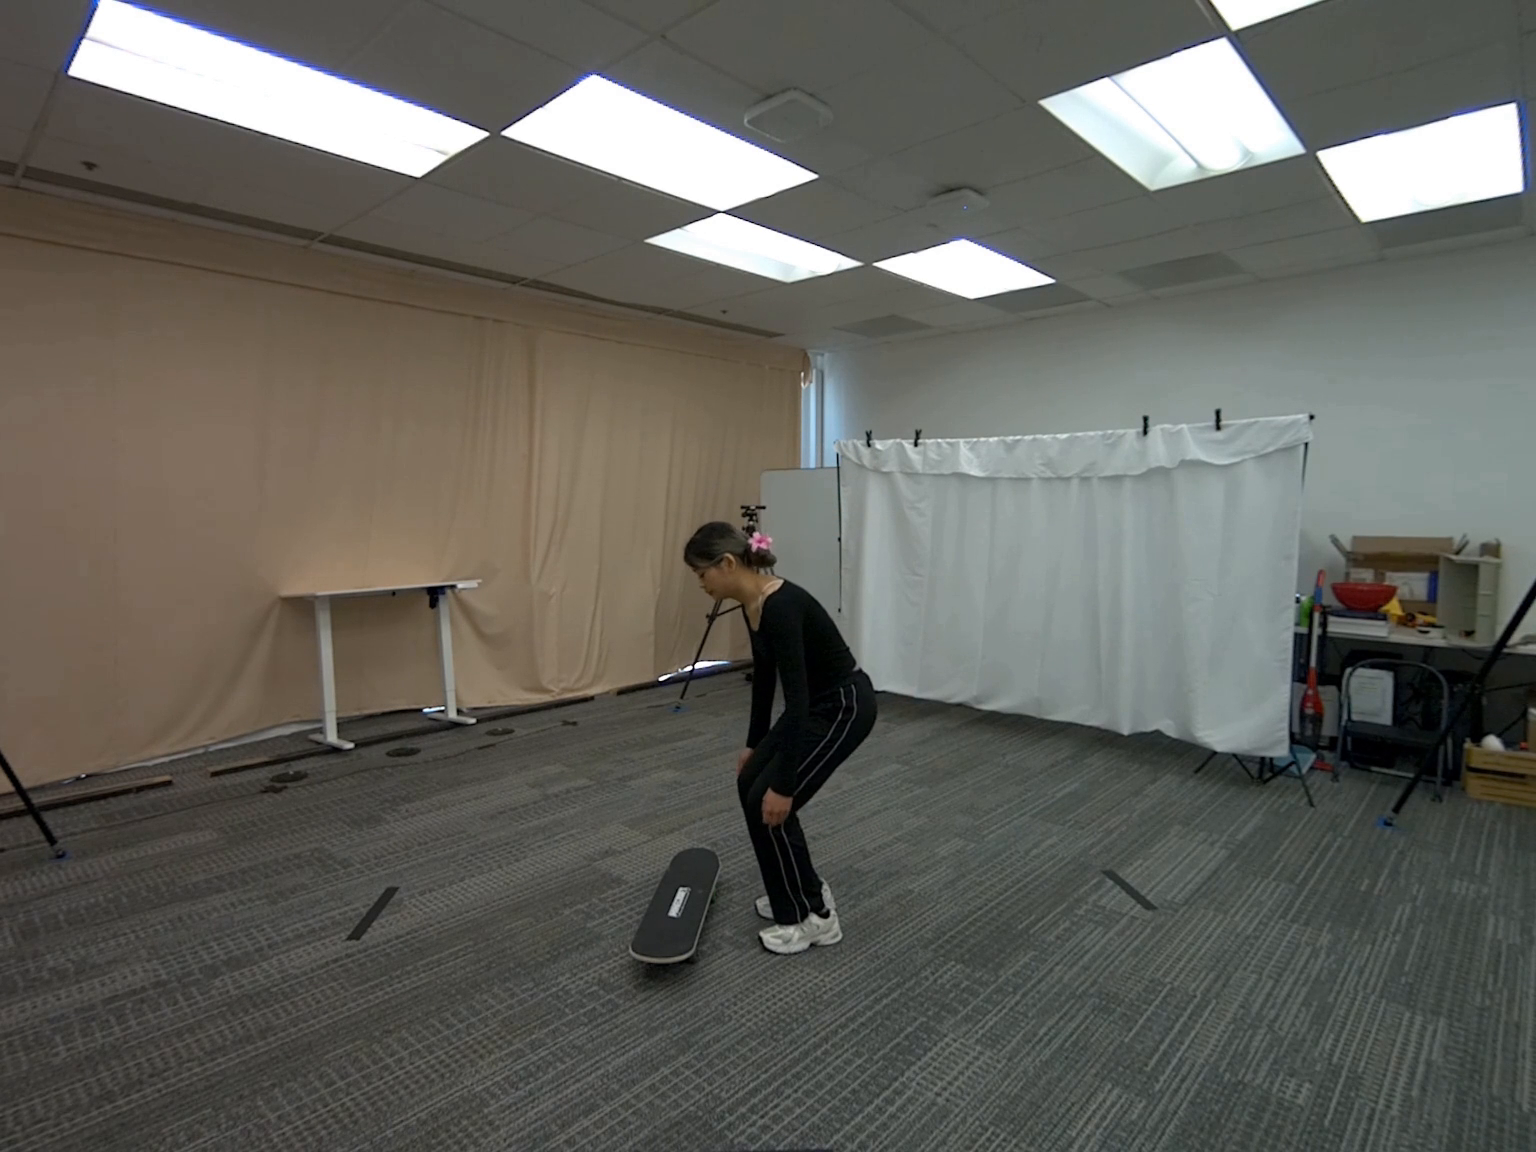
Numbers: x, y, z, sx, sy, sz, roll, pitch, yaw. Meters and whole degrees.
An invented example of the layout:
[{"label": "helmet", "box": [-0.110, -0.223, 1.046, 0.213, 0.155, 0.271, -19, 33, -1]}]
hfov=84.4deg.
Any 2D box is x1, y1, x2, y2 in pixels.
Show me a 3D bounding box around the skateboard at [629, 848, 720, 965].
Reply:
[{"label": "skateboard", "box": [-0.287, 1.099, 2.783, 0.195, 0.110, 0.781, 0, 4, 5]}]
